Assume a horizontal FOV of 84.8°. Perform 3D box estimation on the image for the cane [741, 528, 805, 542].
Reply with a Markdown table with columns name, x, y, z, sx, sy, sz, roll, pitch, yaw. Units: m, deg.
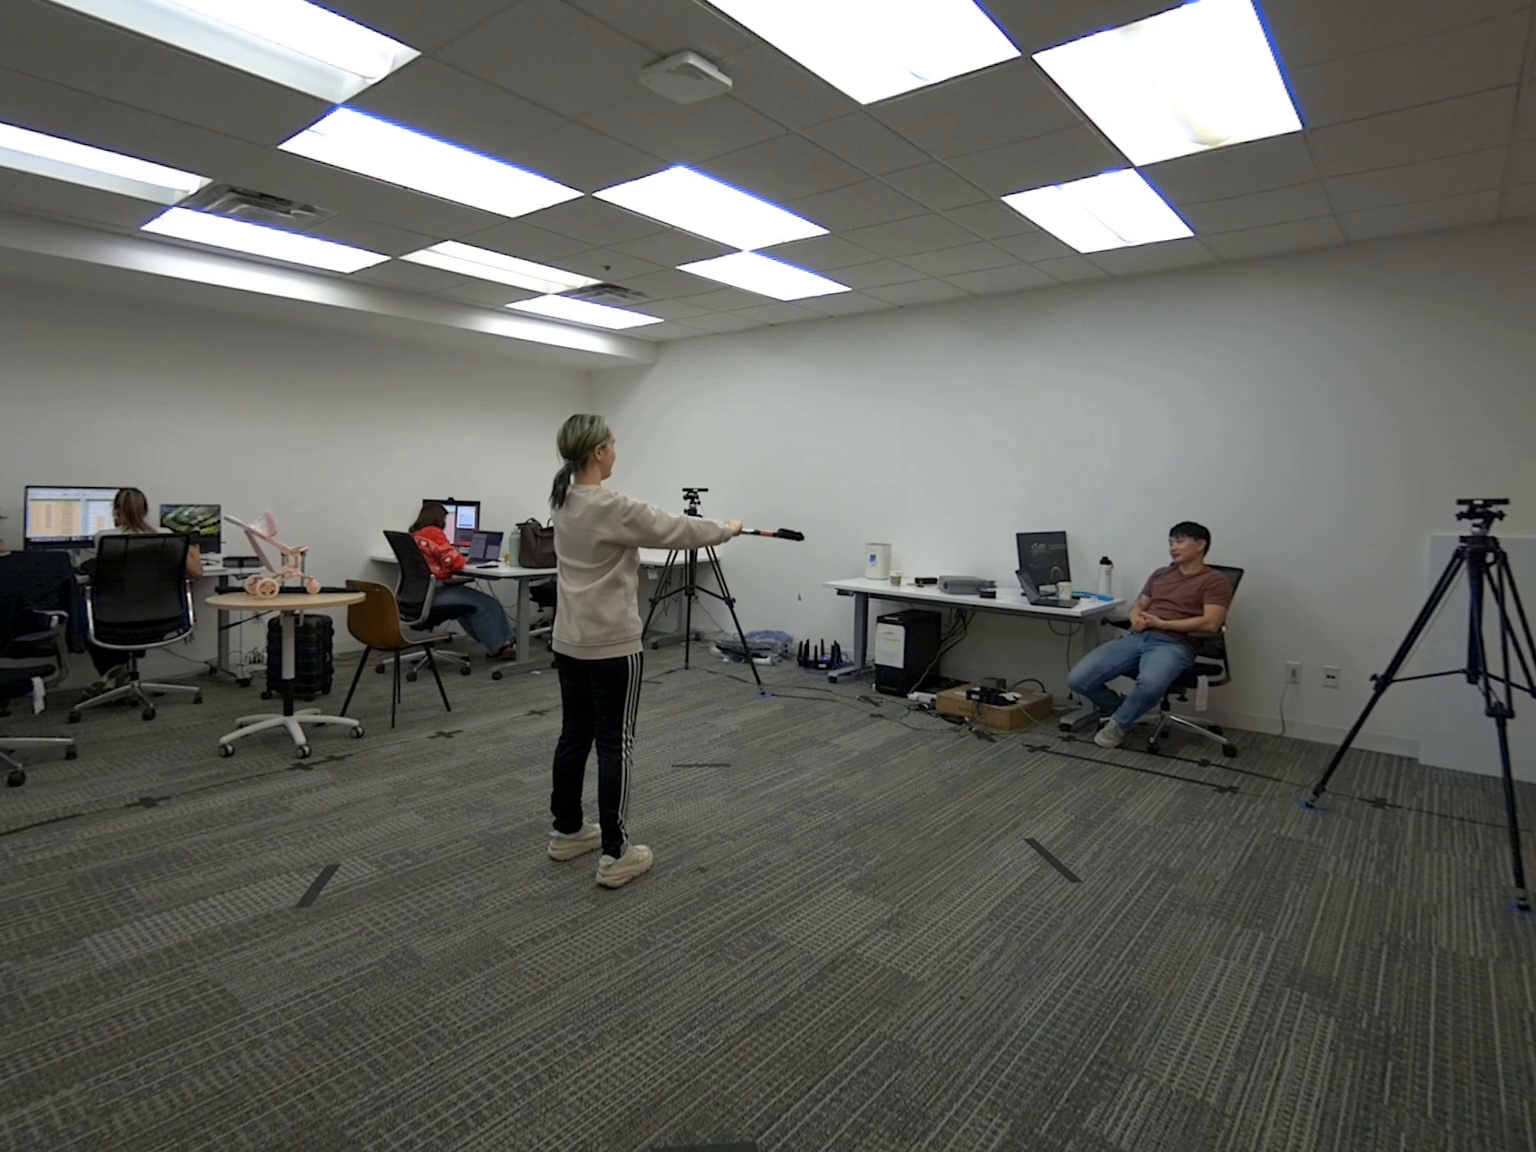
| name | x | y | z | sx | sy | sz | roll | pitch | yaw |
| --- | --- | --- | --- | --- | --- | --- | --- | --- | --- |
| cane | -0.219 | -0.187 | 3.441 | 0.940 | 0.152 | 0.199 | 7 | -5 | 45 |
